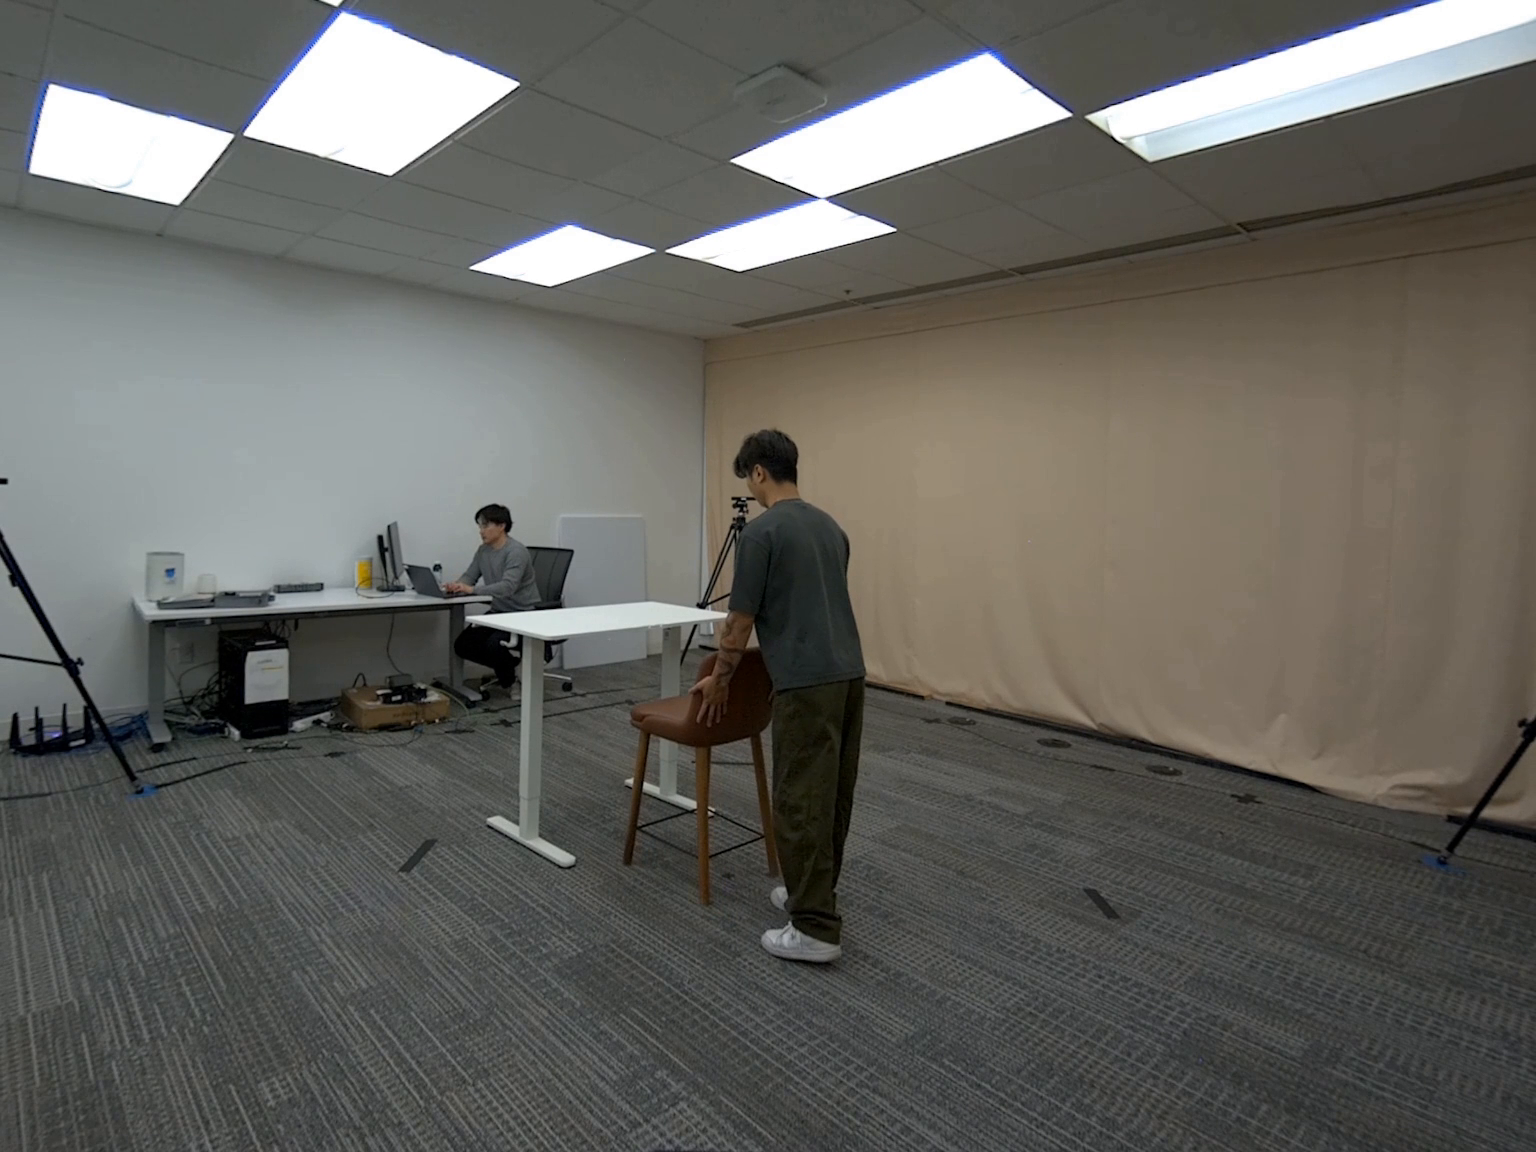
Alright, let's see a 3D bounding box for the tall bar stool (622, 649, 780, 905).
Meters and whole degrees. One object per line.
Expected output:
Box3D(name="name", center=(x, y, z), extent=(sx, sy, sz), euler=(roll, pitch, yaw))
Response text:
Box3D(name="tall bar stool", center=(-0.239, 0.663, 3.133), extent=(0.480, 0.887, 0.446), euler=(7, 7, 44))
